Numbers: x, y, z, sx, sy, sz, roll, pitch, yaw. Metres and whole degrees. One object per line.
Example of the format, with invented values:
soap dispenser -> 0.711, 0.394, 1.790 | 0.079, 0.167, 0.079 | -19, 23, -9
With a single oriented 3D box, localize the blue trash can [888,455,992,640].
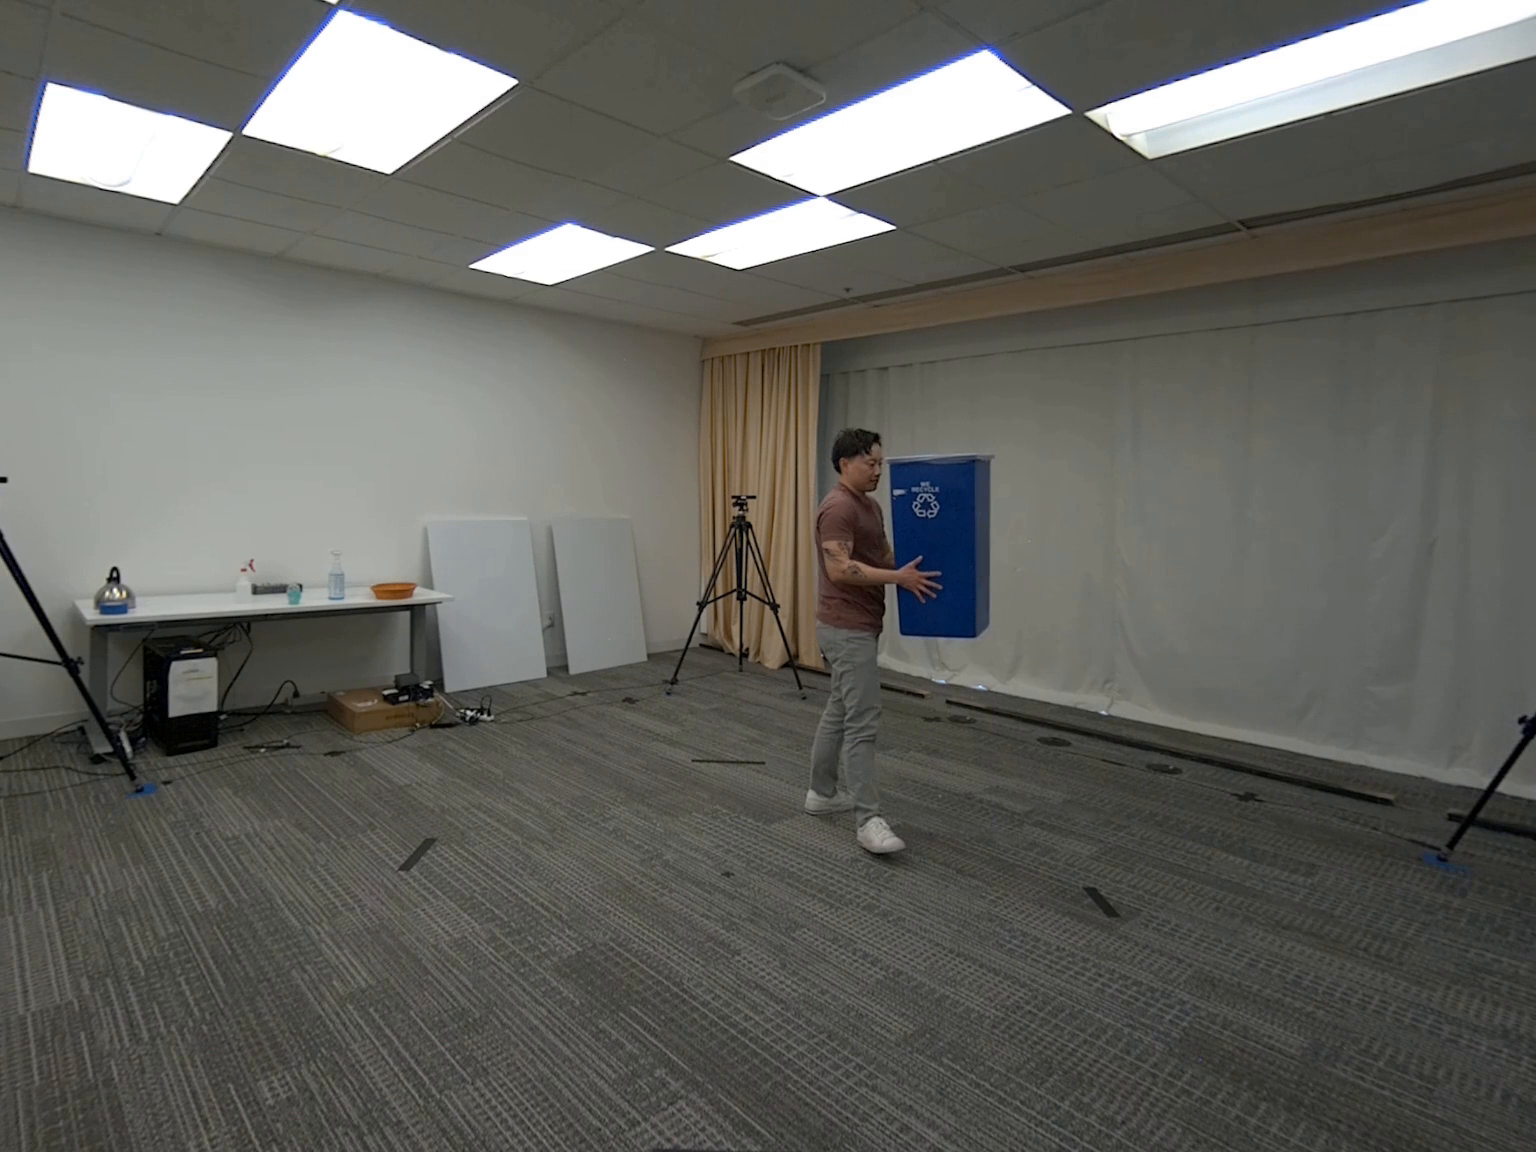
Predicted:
blue trash can -> 0.709, -0.132, 3.411 | 0.381, 0.711, 0.372 | -1, 5, 26
